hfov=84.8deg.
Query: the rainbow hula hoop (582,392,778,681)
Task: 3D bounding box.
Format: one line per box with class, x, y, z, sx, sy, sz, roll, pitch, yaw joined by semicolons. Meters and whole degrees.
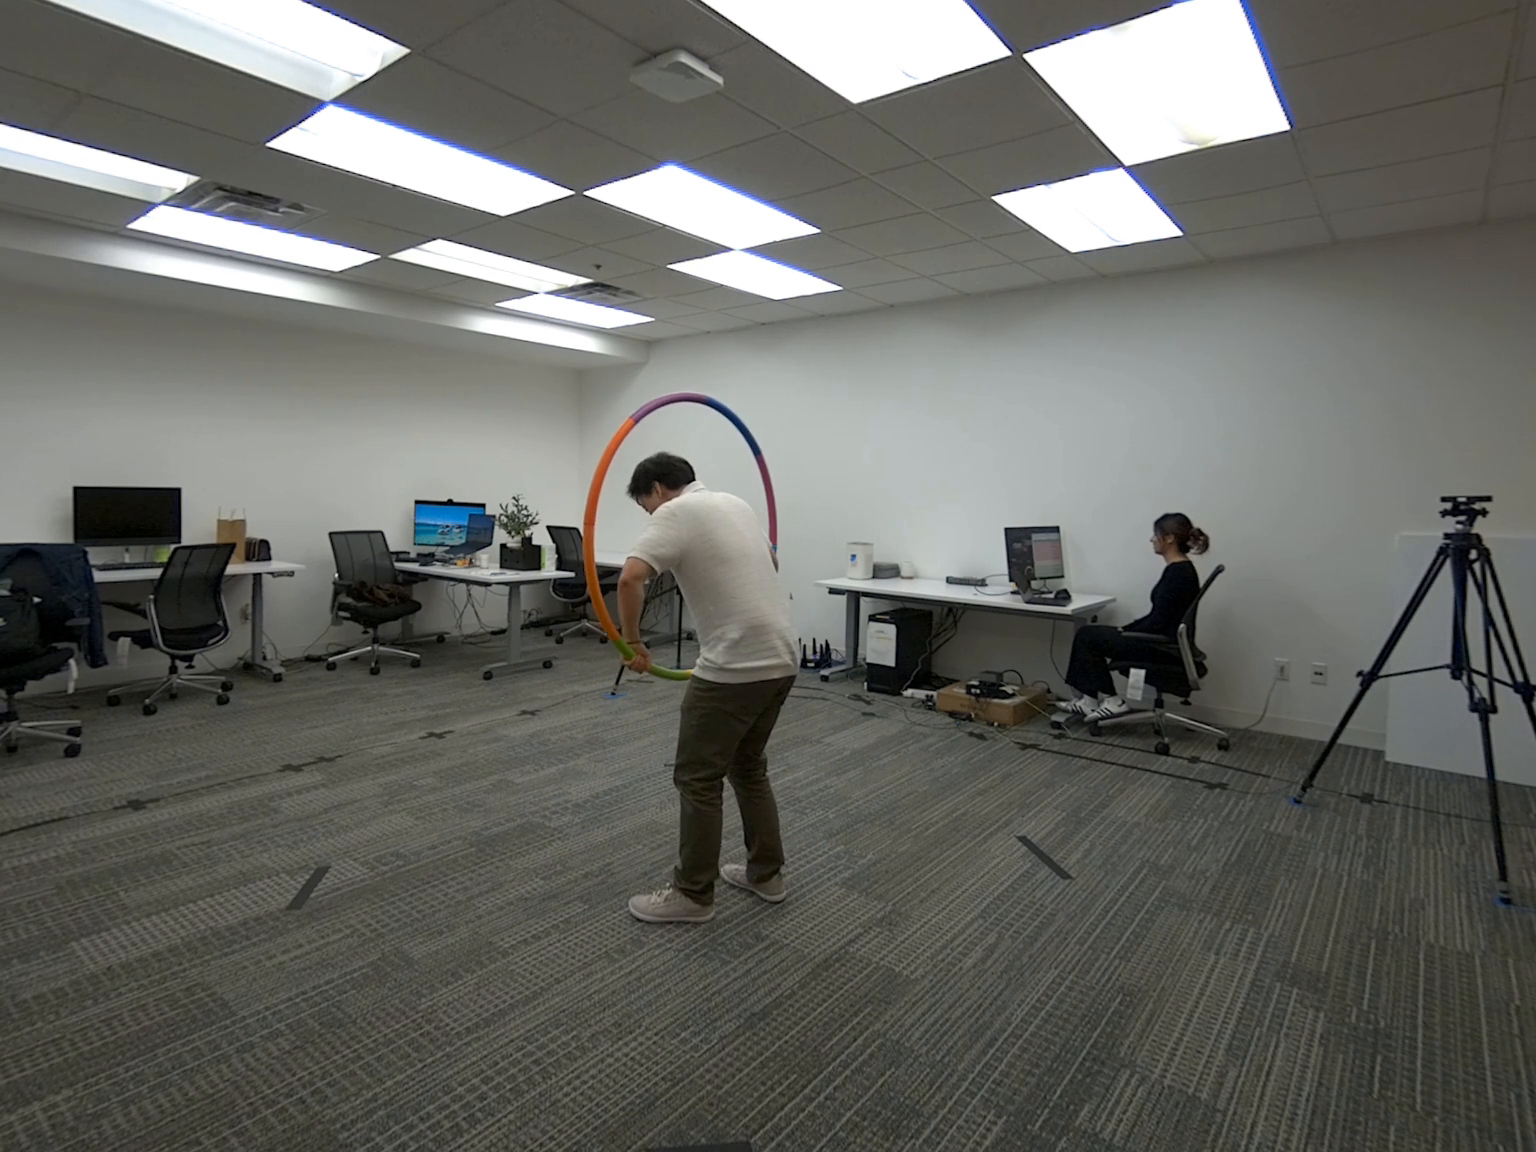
rainbow hula hoop;-0.269;-0.133;2.916;0.037;0.976;0.950;2;4;37
